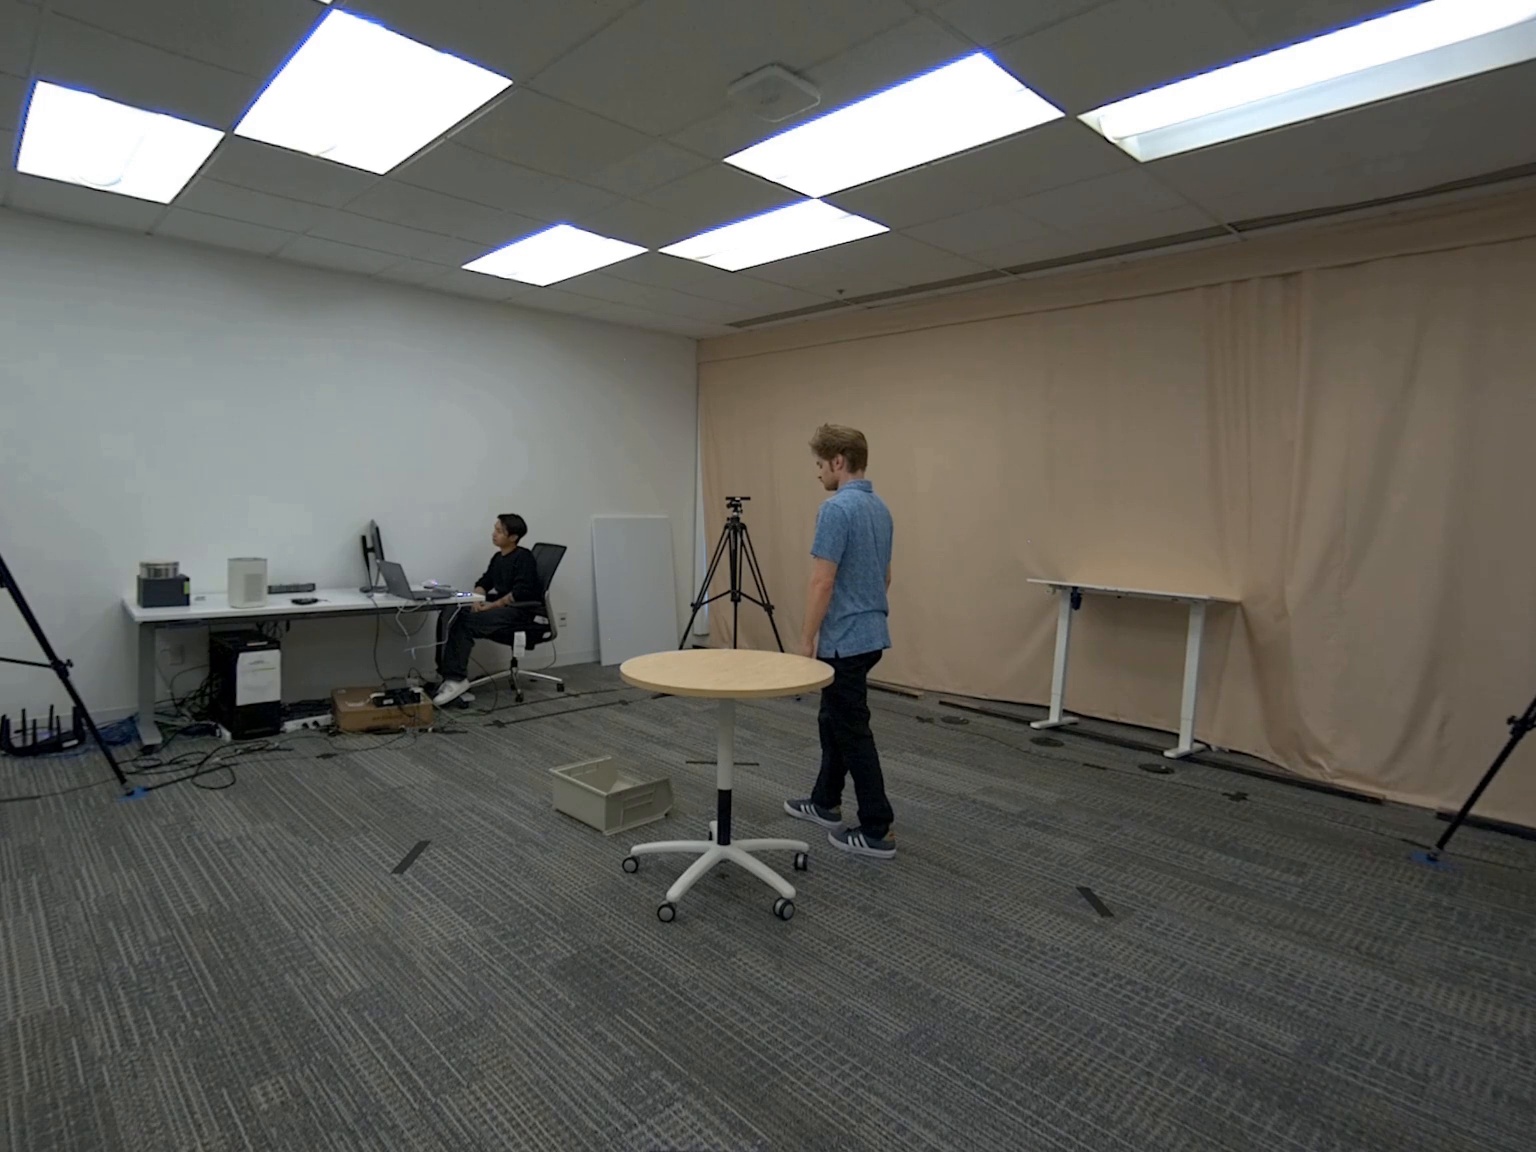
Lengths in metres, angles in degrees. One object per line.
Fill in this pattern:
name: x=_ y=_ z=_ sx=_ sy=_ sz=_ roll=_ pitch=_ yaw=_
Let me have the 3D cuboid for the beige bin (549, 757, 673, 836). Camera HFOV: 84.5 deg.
beige bin: x=-0.696 y=0.952 z=3.704 sx=0.433 sy=0.188 sz=0.369 roll=7 pitch=8 yaw=43
